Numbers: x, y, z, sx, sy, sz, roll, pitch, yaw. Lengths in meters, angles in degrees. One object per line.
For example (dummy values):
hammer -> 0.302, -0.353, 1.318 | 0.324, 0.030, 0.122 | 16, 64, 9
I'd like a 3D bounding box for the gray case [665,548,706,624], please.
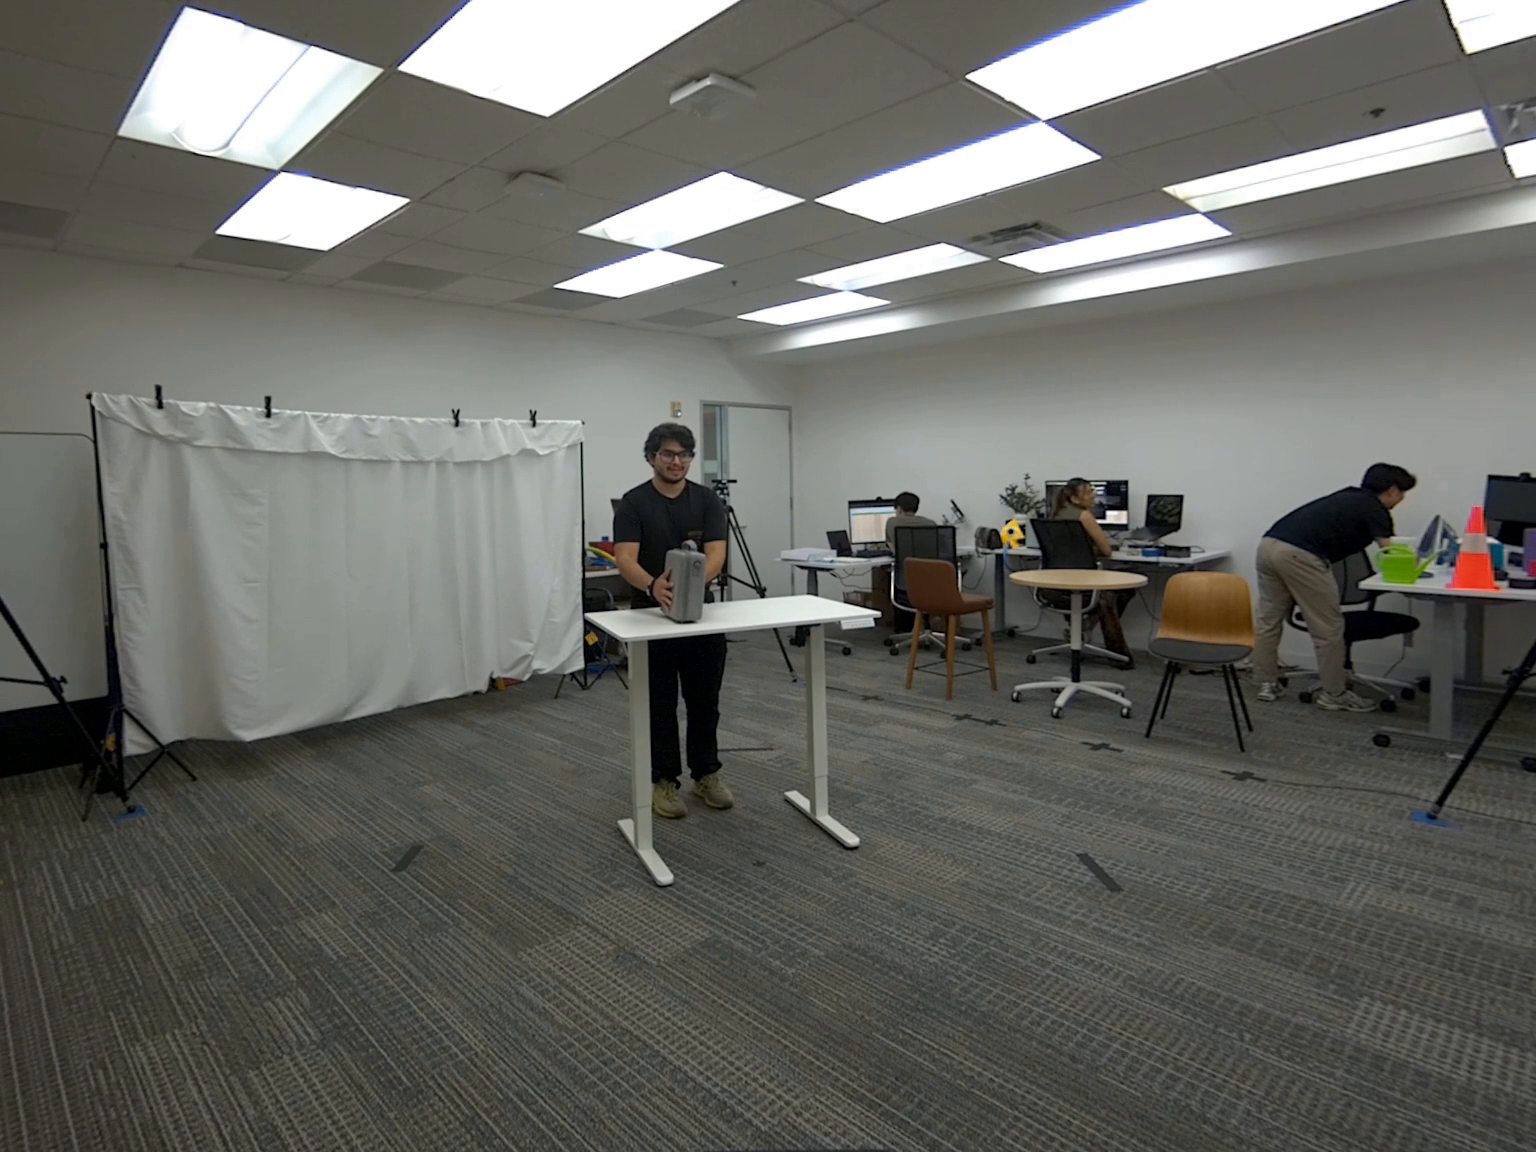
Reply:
gray case -> -0.320, 0.031, 3.189 | 0.103, 0.260, 0.260 | 4, 3, -13
